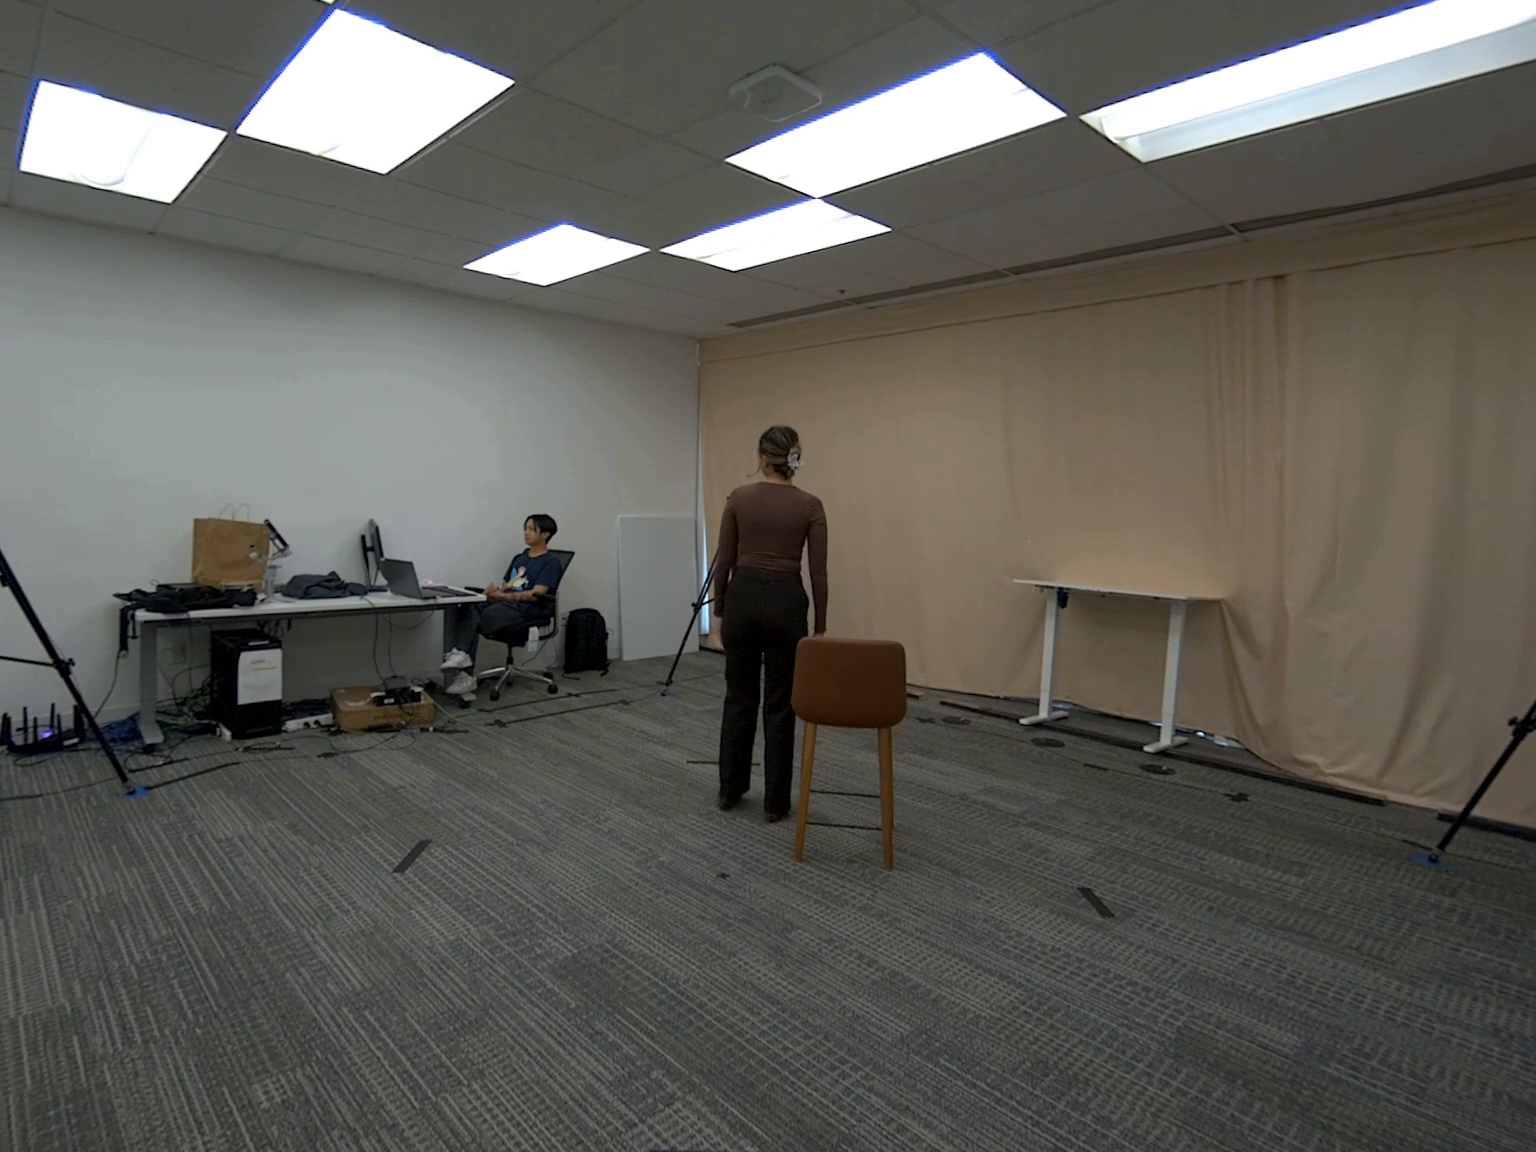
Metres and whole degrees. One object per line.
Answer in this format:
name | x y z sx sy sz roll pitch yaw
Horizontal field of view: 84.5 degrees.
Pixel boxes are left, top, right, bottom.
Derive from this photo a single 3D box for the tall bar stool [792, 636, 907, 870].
tall bar stool | 0.319 0.656 3.405 0.460 0.887 0.466 2 4 8
